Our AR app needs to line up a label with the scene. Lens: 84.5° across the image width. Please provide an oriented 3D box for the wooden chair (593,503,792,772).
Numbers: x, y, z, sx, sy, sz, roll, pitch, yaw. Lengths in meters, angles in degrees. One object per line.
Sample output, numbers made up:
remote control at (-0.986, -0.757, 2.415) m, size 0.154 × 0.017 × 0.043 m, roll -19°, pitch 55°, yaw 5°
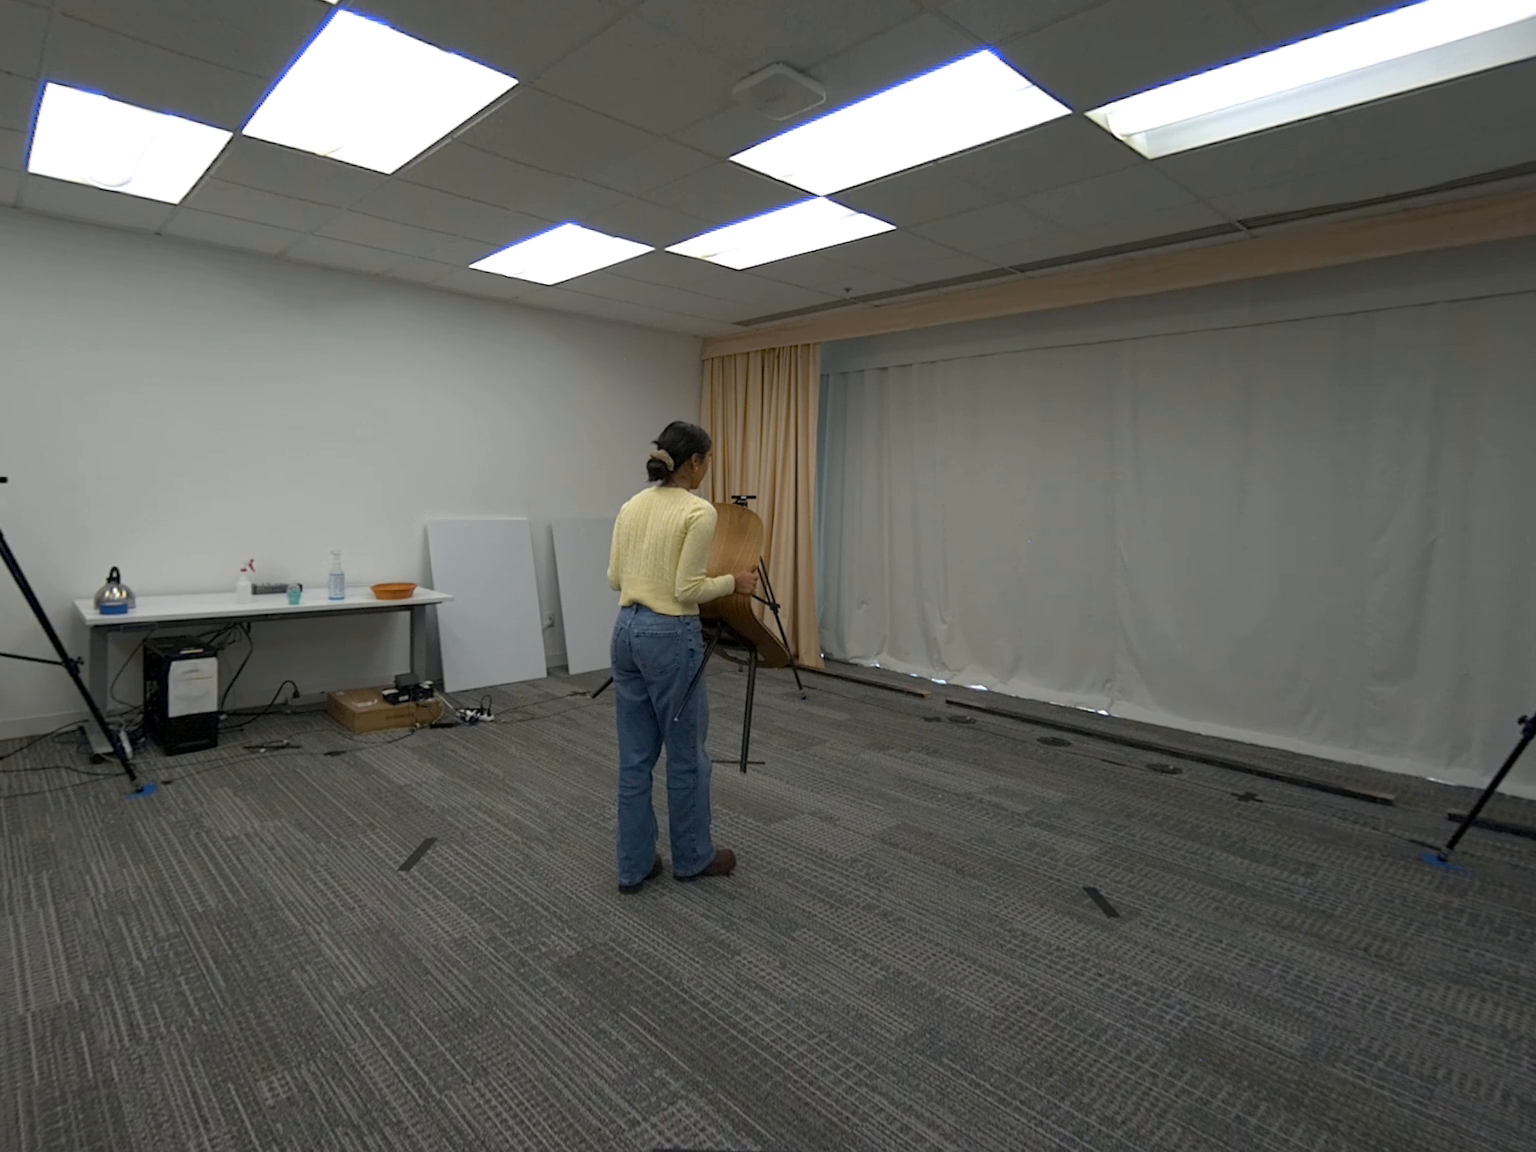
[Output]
wooden chair at (-0.197, 0.226, 3.225) m, size 0.490 × 0.884 × 0.506 m, roll 3°, pitch -27°, yaw 39°
